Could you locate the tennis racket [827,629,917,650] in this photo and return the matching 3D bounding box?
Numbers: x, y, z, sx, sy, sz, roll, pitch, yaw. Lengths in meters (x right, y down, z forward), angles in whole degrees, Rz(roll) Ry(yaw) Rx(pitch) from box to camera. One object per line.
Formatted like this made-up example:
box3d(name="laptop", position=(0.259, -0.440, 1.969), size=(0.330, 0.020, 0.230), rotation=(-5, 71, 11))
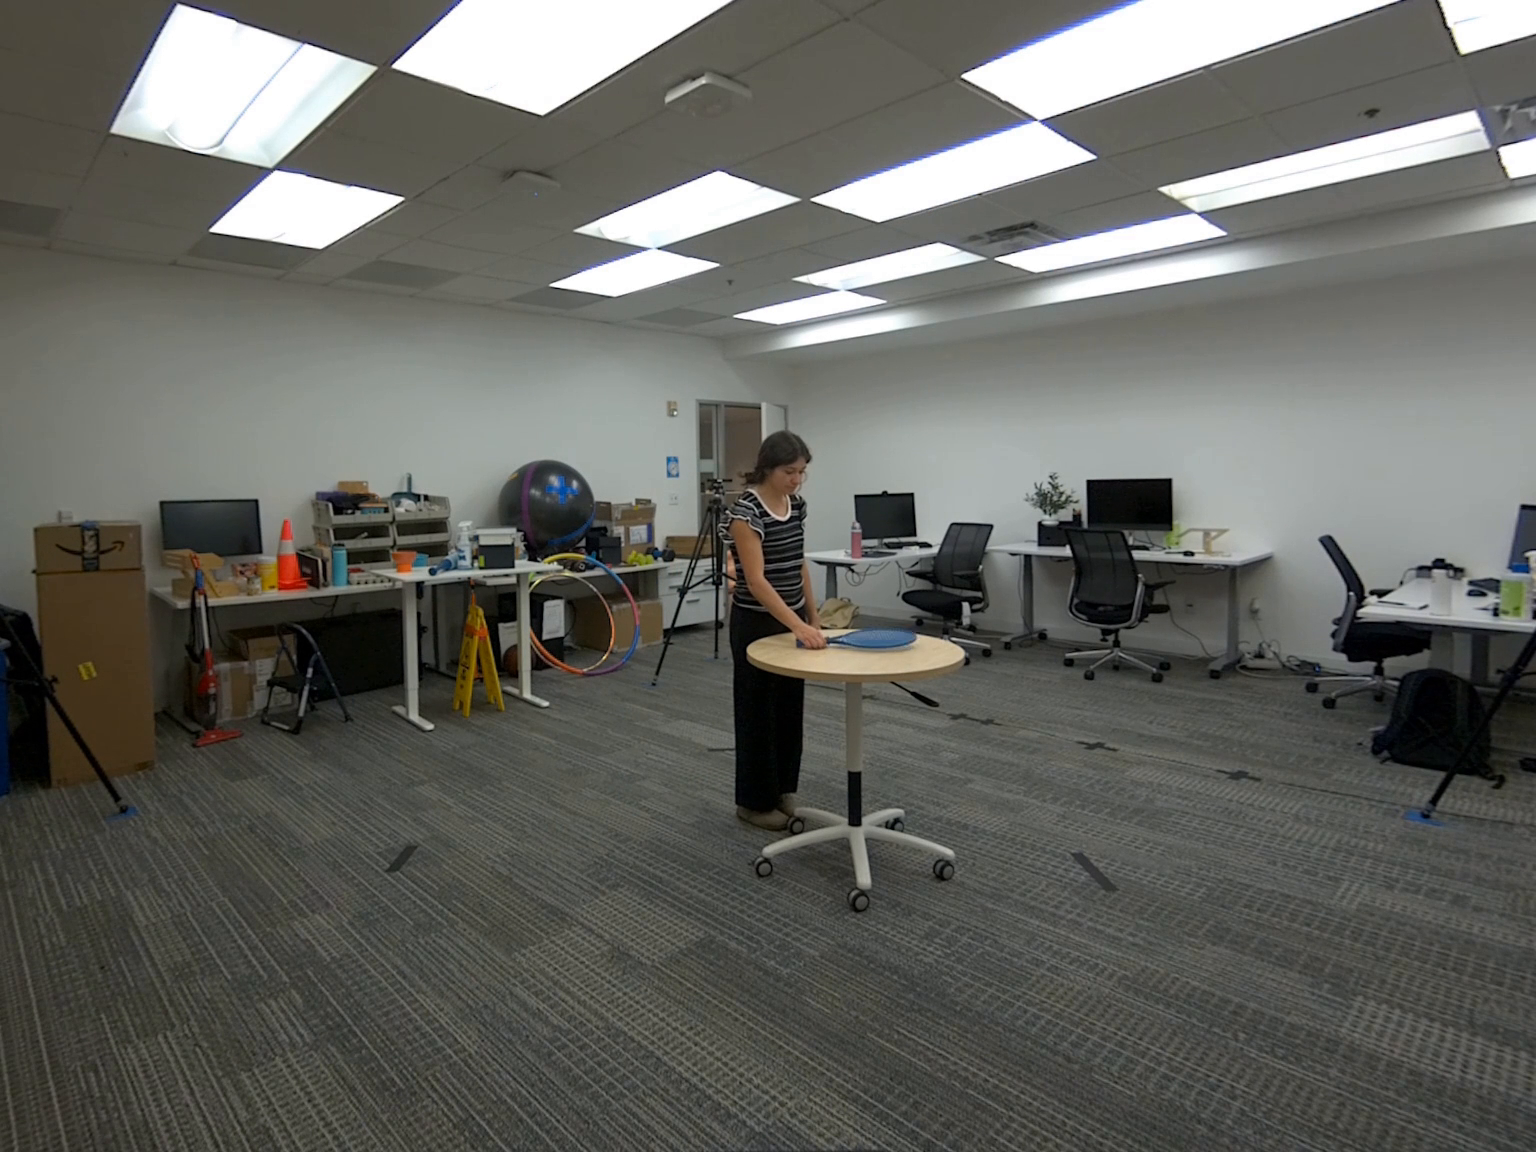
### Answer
box3d(name="tennis racket", position=(0.331, 0.231, 3.074), size=(0.433, 0.031, 0.216), rotation=(-4, 12, 1))
